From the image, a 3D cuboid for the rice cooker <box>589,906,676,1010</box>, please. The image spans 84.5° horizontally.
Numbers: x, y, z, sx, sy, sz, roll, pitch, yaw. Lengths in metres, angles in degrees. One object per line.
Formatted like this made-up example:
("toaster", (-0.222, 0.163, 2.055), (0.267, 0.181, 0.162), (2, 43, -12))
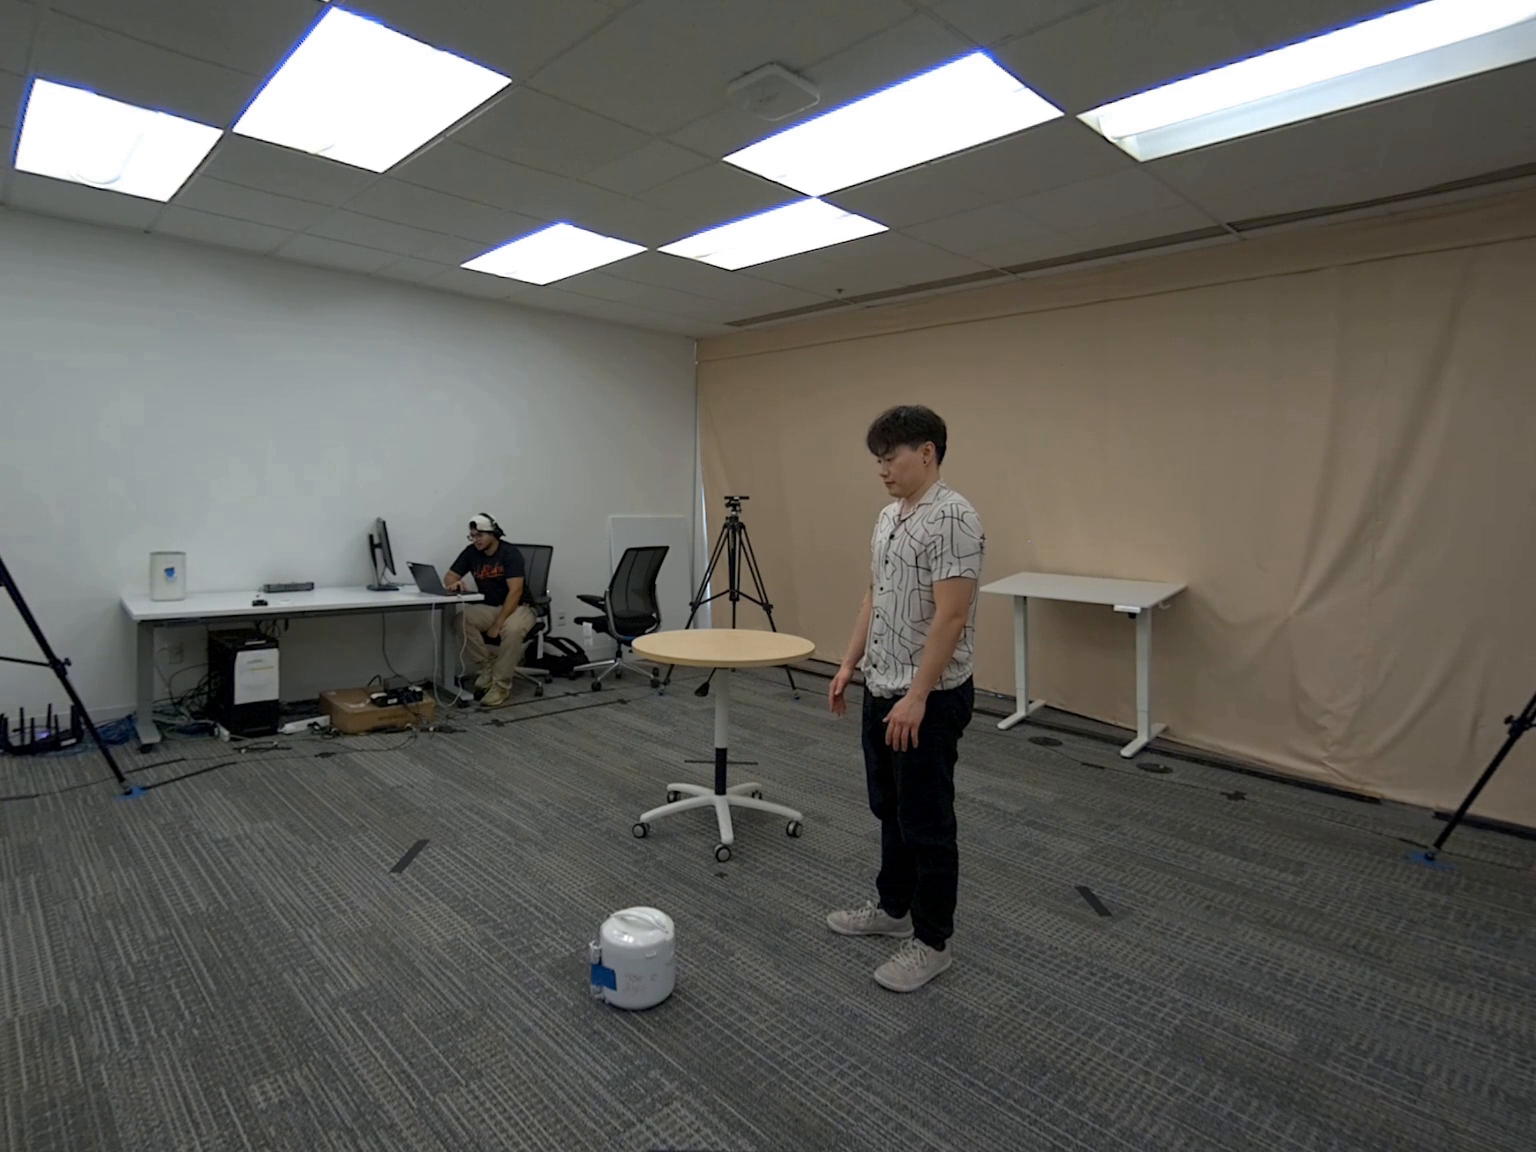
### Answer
("rice cooker", (-0.364, 1.046, 2.356), (0.225, 0.232, 0.214), (3, 5, 24))
